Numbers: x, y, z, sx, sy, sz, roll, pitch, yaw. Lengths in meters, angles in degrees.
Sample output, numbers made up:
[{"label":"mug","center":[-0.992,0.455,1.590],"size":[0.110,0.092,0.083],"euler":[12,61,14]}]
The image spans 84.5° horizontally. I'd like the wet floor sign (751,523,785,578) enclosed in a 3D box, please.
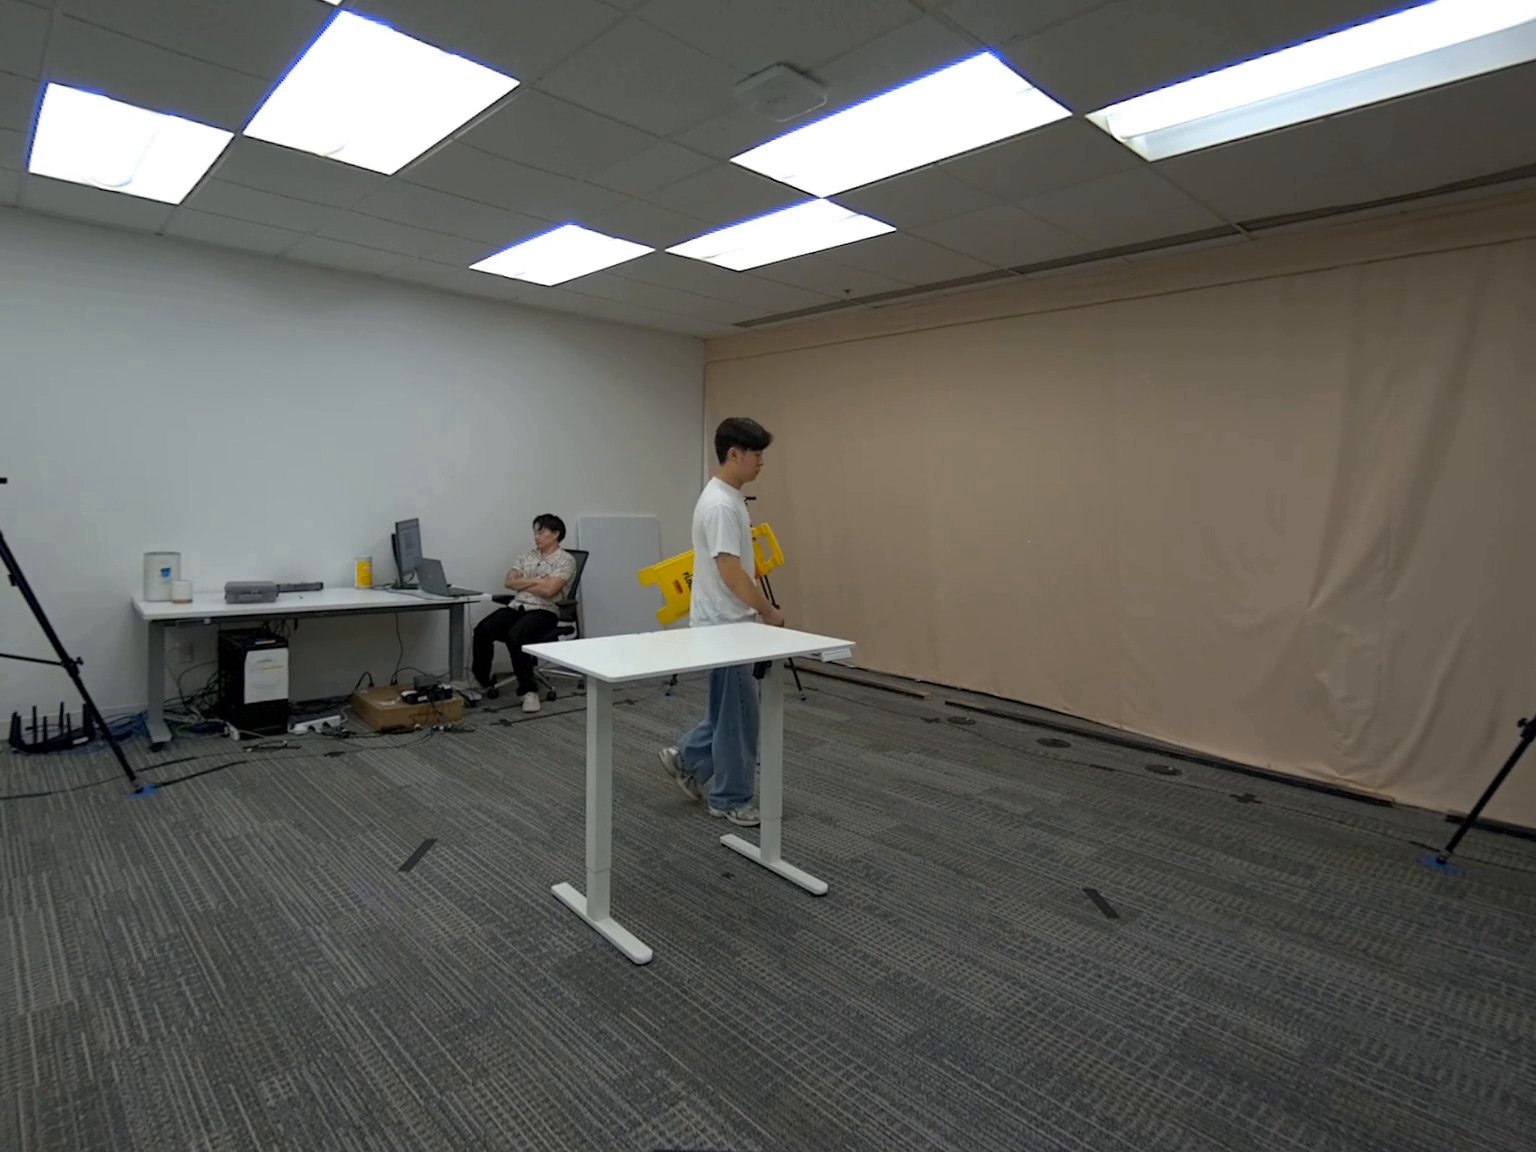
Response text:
[{"label":"wet floor sign","center":[-0.251,-0.022,3.845],"size":[0.650,0.282,0.288],"euler":[-23,2,13]}]
